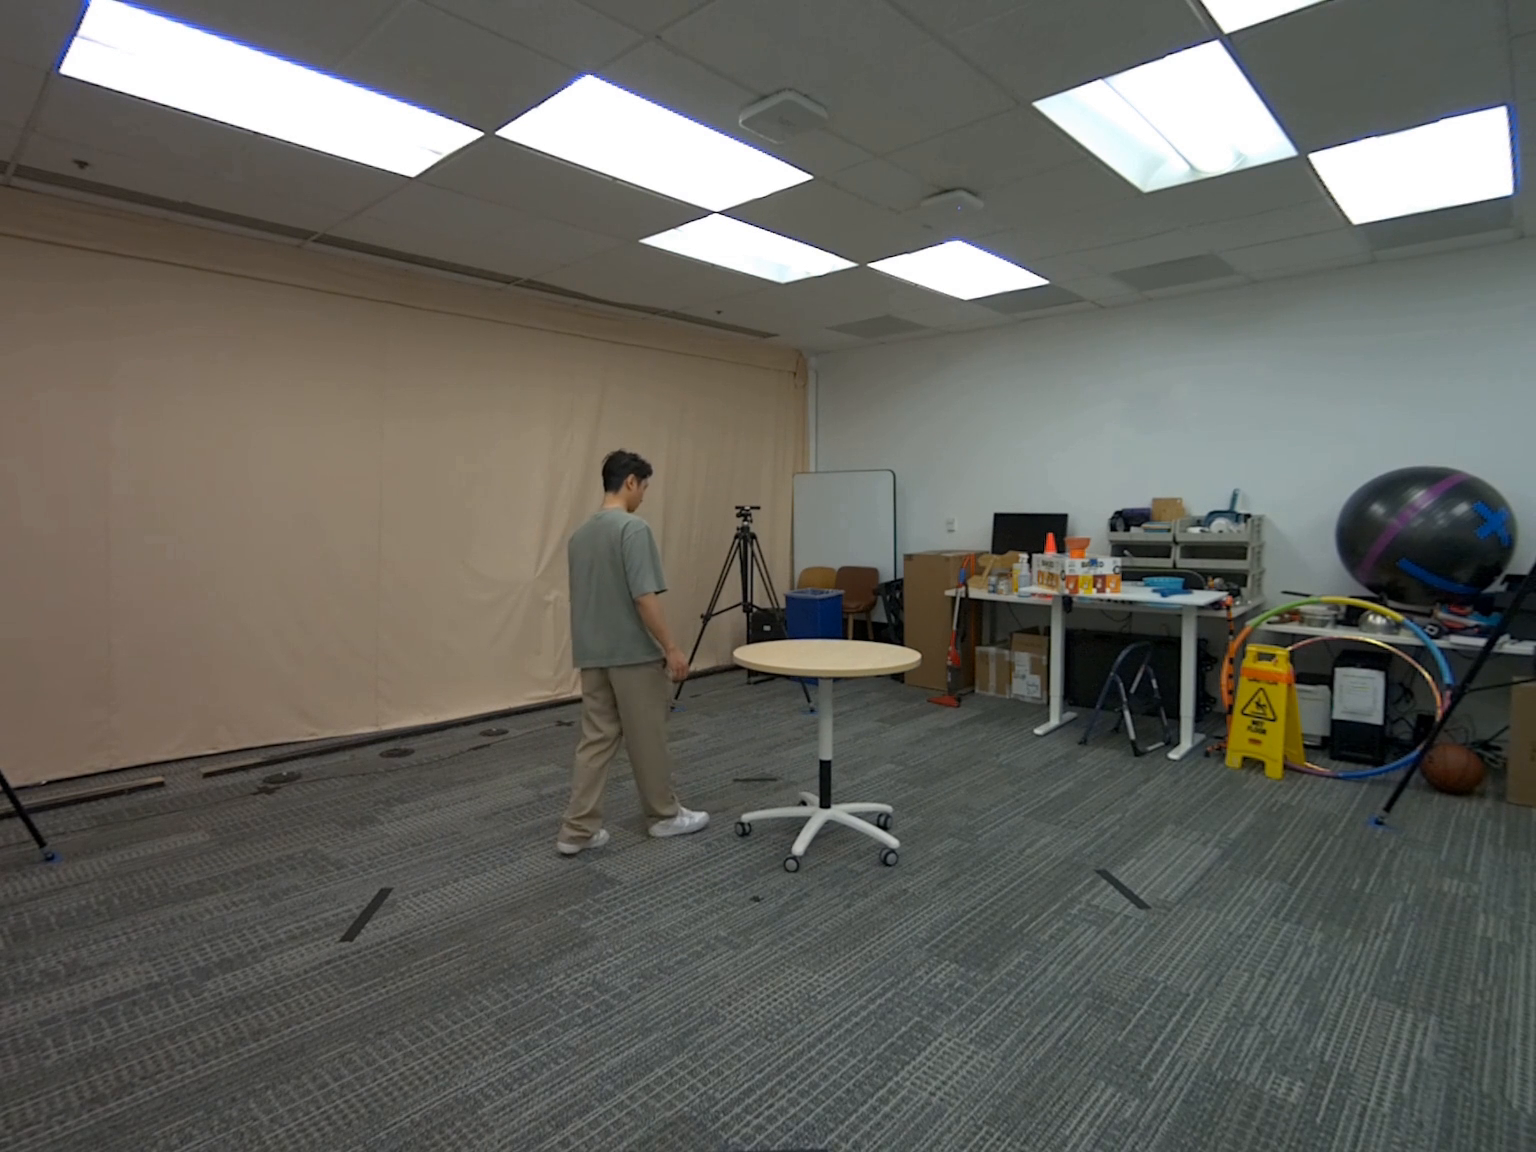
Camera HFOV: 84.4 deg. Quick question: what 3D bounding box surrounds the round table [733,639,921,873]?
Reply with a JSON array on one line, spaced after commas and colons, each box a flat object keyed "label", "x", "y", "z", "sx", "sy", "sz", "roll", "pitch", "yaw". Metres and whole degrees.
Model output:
[{"label": "round table", "x": 0.225, "y": 0.708, "z": 3.491, "sx": 0.784, "sy": 0.785, "sz": 0.787, "roll": 0, "pitch": 3, "yaw": -2}]
